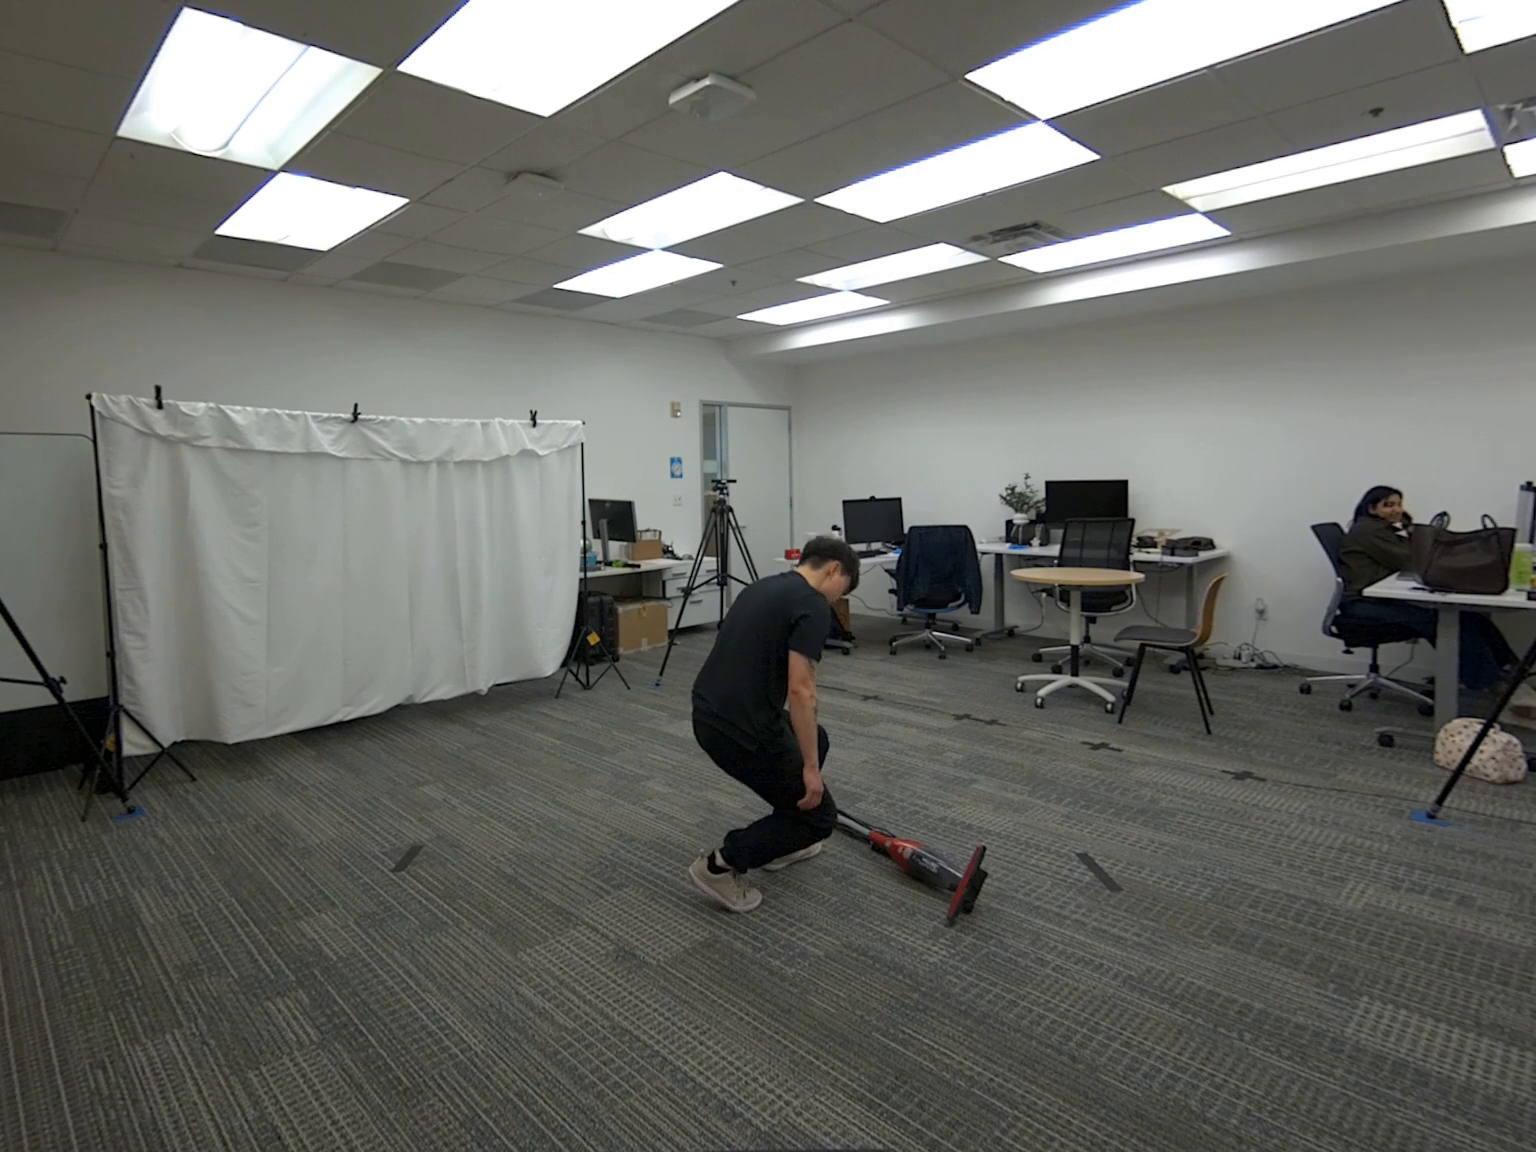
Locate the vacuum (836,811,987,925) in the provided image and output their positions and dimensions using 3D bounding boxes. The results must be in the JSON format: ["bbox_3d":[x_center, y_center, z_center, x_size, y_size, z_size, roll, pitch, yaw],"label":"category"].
[{"bbox_3d":[0.402,0.972,3.187,0.140,0.253,1.072,34,-13,-22],"label":"vacuum"}]
